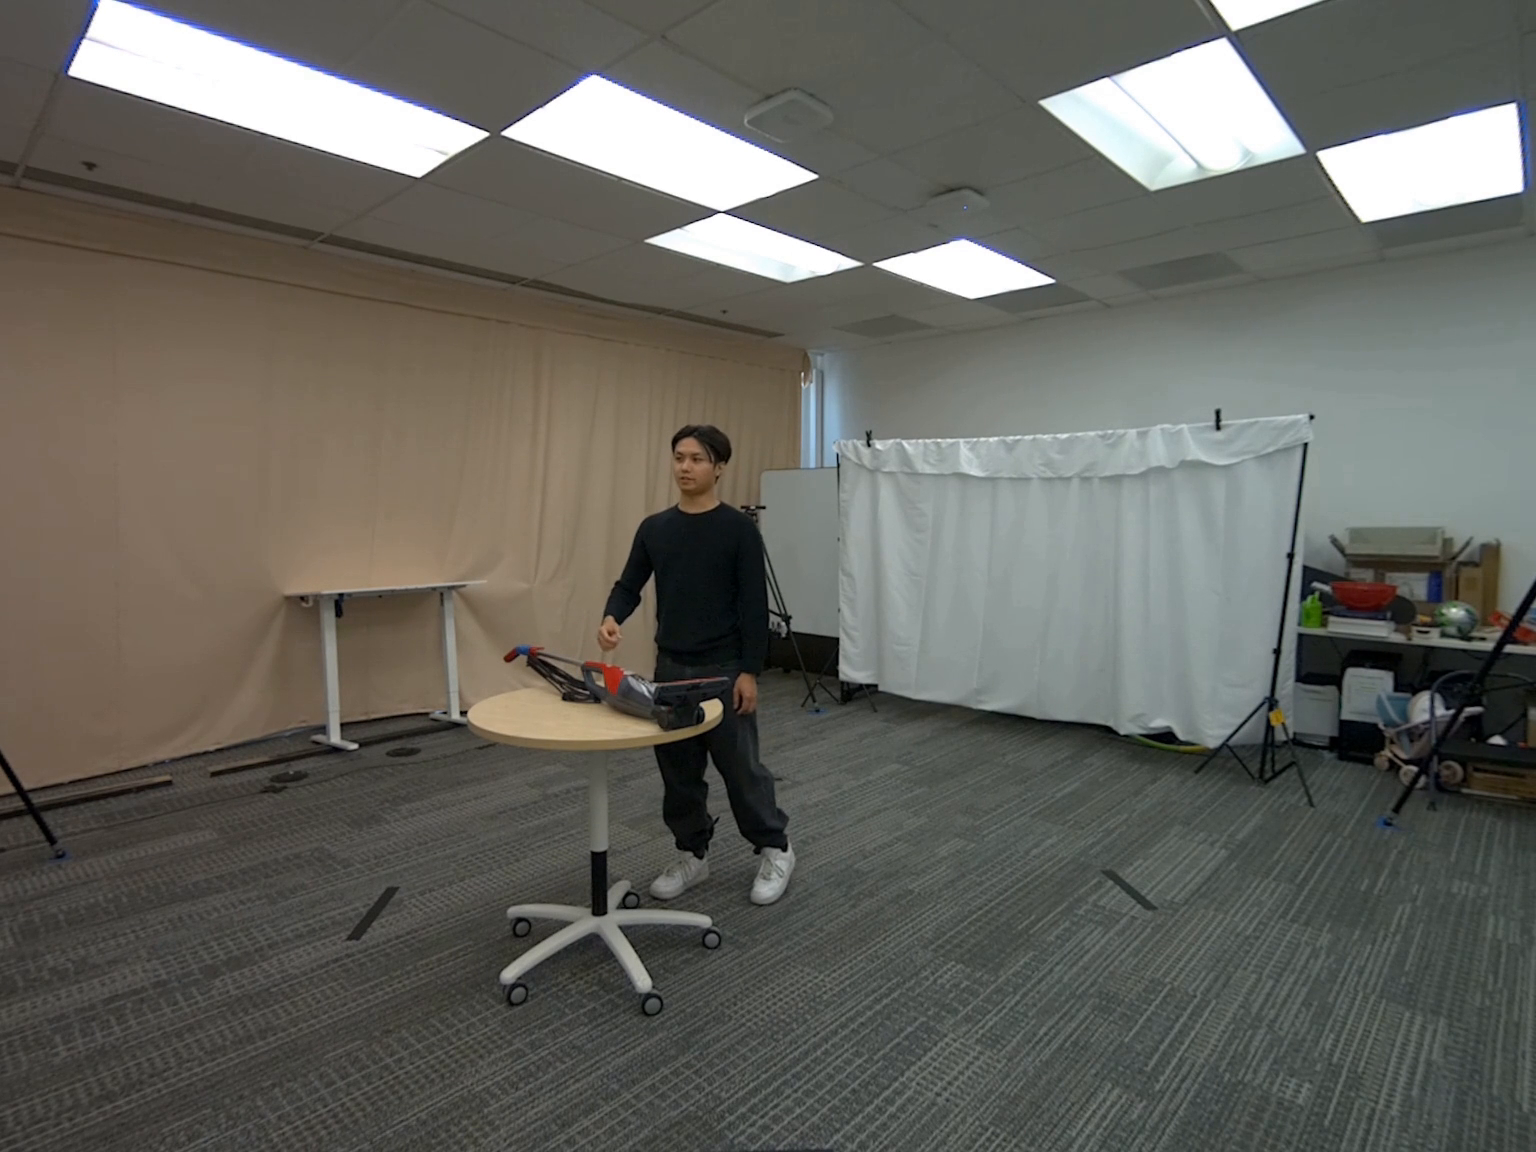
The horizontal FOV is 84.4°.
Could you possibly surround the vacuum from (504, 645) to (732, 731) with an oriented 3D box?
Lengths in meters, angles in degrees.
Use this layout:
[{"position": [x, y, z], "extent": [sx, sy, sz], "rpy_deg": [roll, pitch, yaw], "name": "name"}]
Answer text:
[{"position": [-0.575, 0.331, 2.682], "extent": [0.245, 0.144, 1.084], "rpy_deg": [-1, 4, -43], "name": "vacuum"}]
